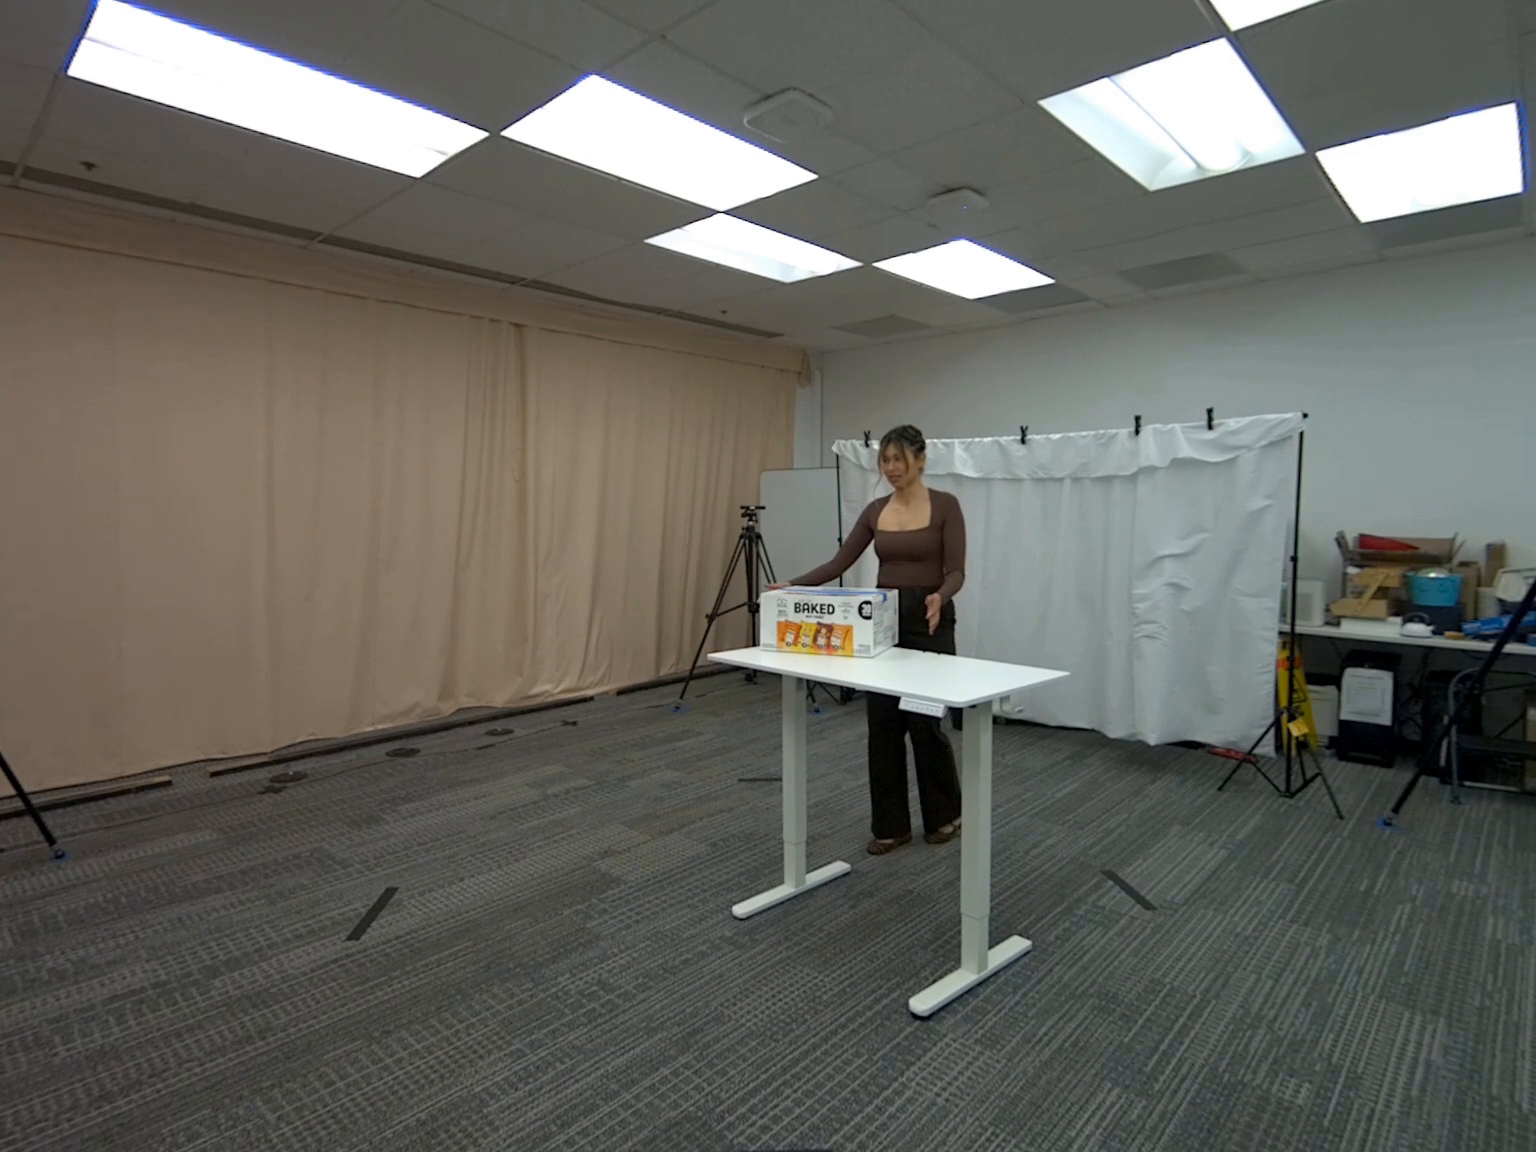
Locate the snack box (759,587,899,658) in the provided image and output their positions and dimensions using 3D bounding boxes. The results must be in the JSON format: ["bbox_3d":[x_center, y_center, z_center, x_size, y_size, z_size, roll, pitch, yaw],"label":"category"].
[{"bbox_3d":[0.230,0.158,3.033,0.415,0.205,0.332,2,5,25],"label":"snack box"}]
